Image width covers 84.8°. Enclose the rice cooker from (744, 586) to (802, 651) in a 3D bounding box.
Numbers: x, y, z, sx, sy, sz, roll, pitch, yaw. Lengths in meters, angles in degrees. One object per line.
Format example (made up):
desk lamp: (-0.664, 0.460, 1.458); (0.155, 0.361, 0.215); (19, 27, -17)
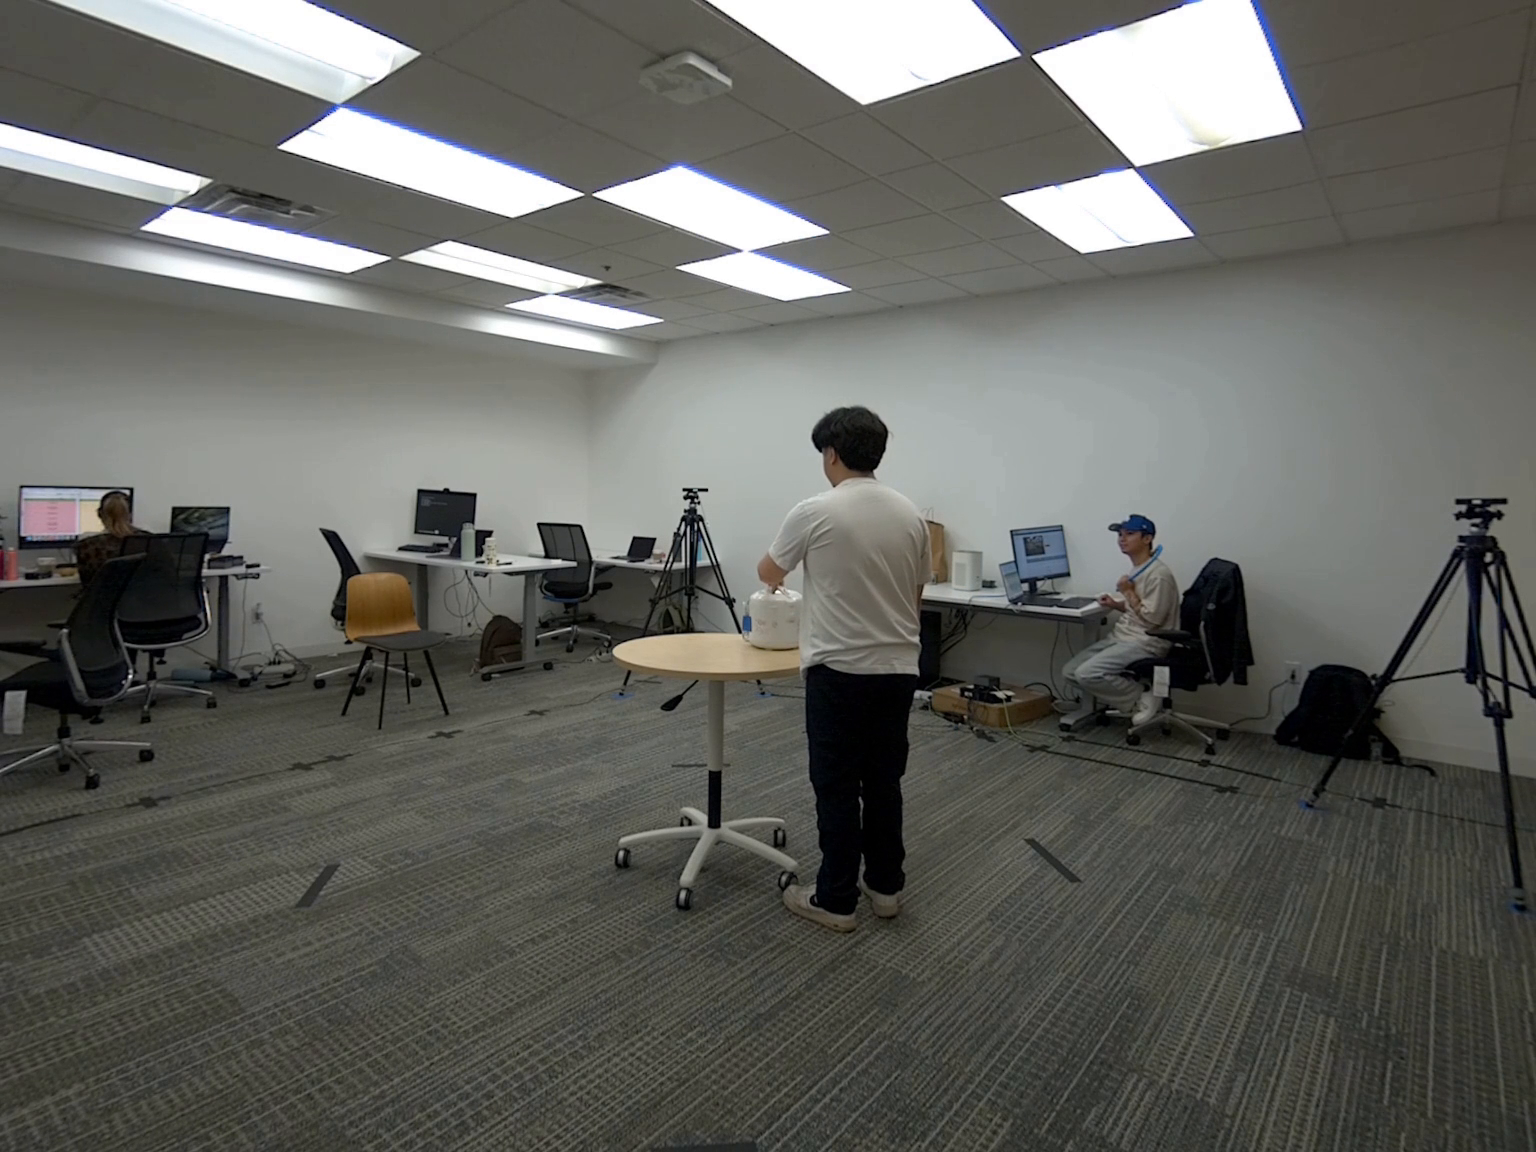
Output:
rice cooker: (0.023, 0.148, 3.225); (0.212, 0.232, 0.227); (-2, 6, -28)
